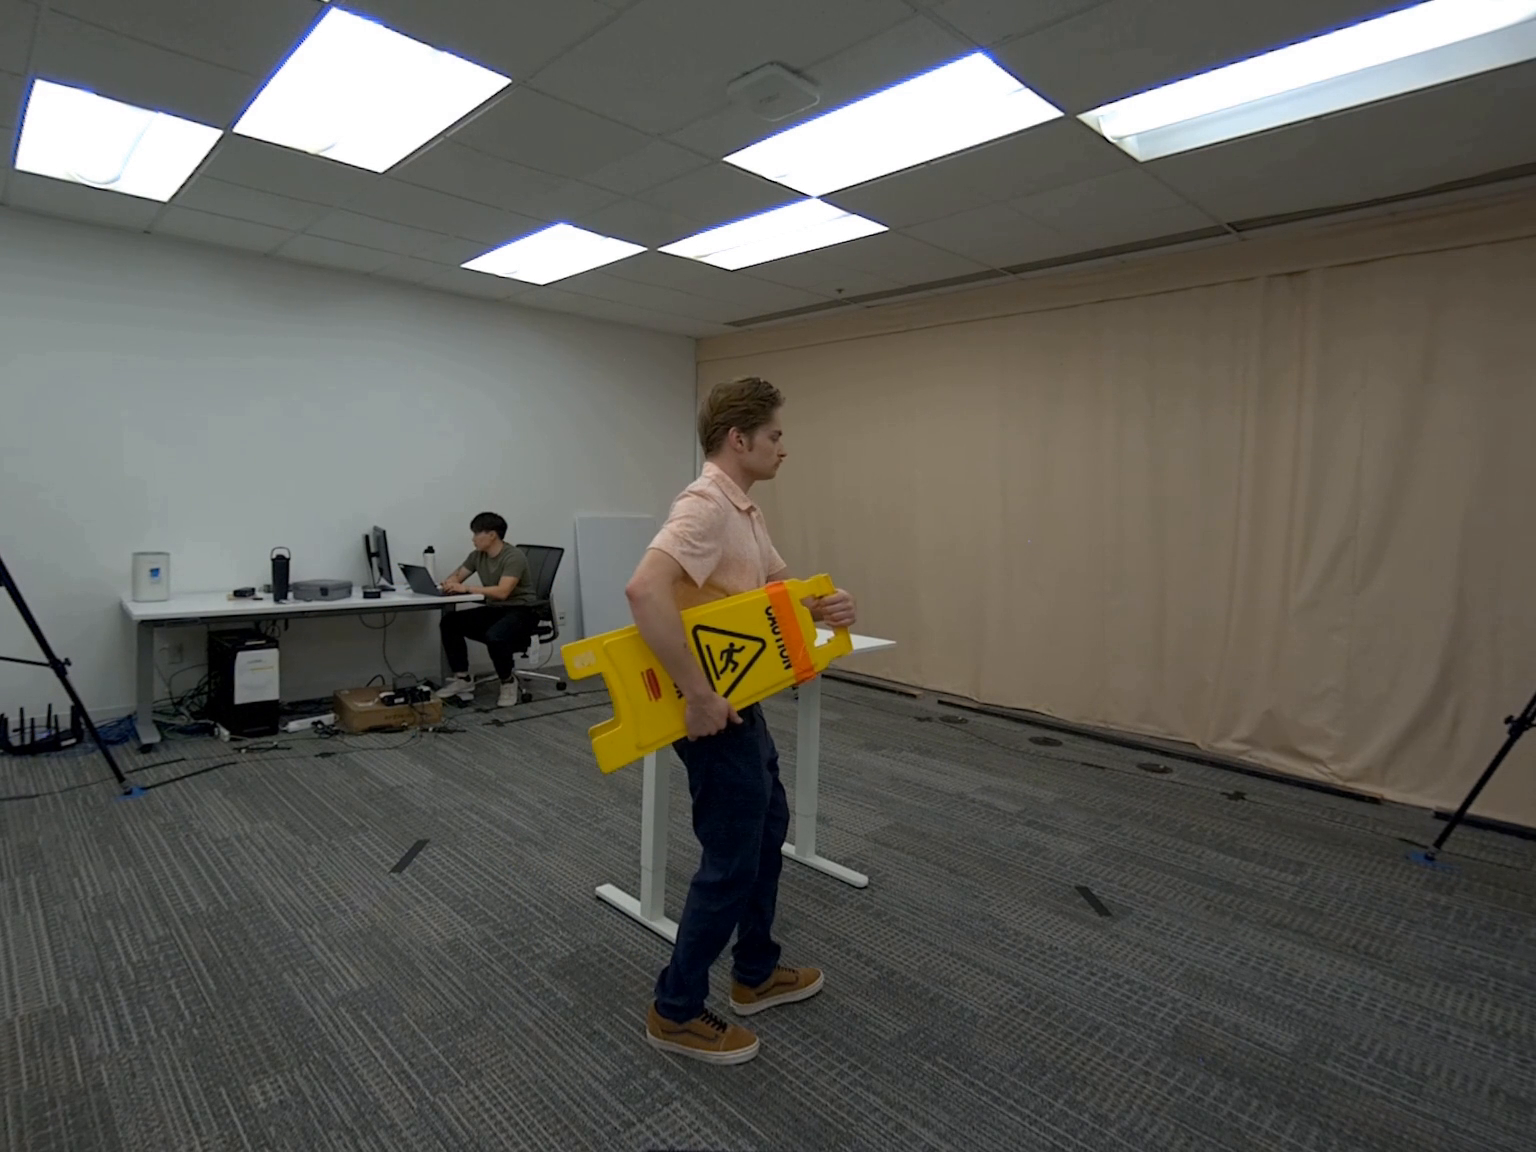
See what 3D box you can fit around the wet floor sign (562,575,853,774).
[{"bbox_3d":[-0.133,0.199,1.922,0.643,0.283,0.291,-19,0,-10],"label":"wet floor sign"}]
